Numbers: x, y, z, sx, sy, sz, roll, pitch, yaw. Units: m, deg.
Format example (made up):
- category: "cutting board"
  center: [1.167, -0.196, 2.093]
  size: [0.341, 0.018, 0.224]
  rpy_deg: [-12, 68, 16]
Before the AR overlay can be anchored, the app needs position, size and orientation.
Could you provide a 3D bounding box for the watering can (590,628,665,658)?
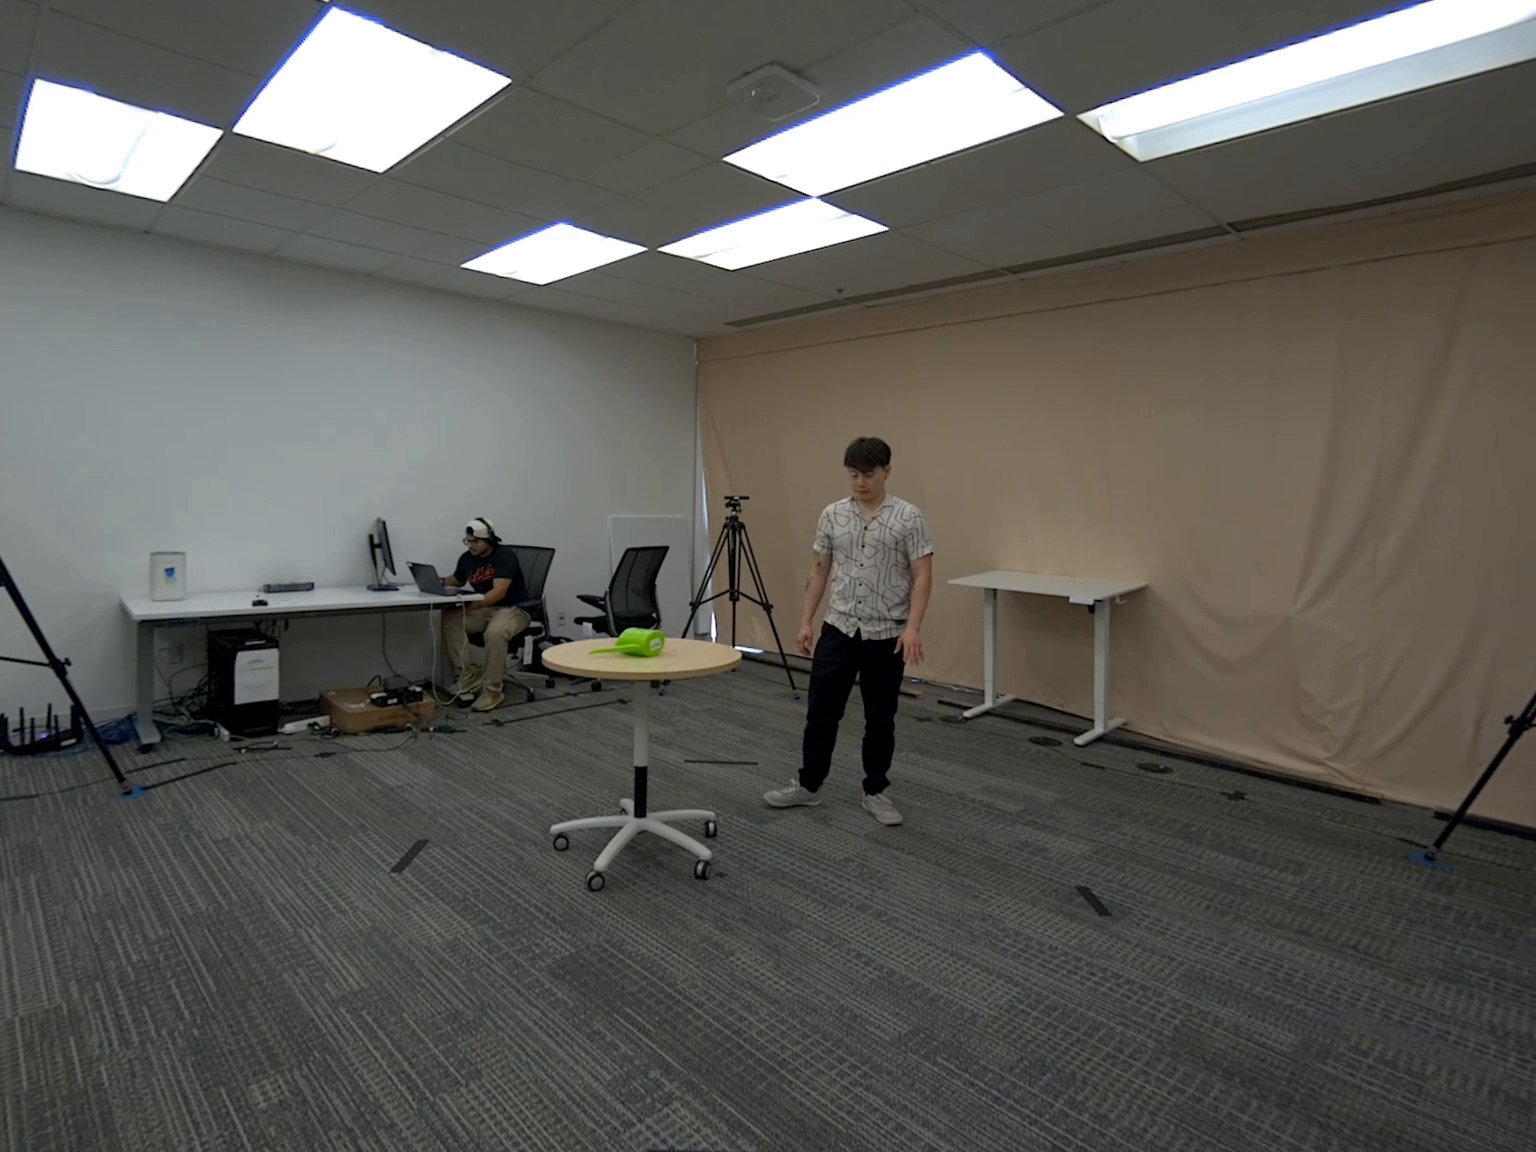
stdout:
- category: "watering can"
  center: [-0.531, 0.269, 3.202]
  size: [0.181, 0.096, 0.277]
  rpy_deg: [3, 27, 34]
